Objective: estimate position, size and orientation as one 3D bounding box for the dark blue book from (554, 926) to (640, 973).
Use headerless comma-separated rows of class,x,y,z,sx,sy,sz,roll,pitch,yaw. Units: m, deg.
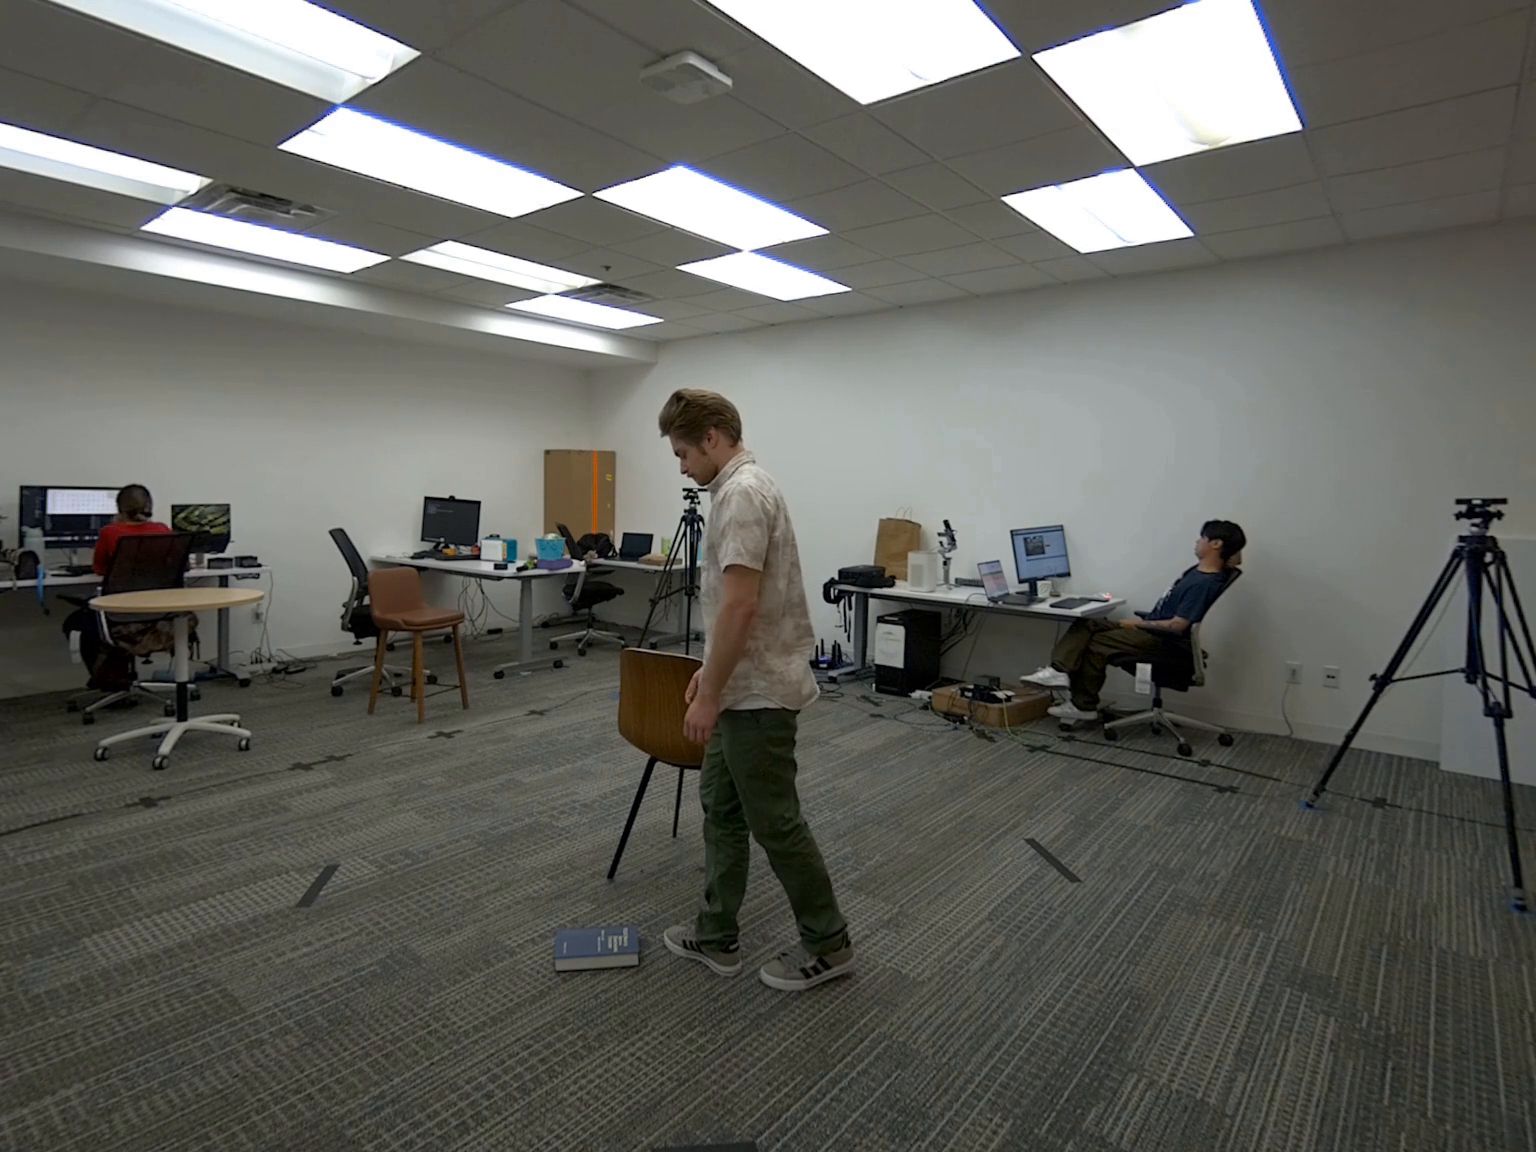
dark blue book,-0.514,1.098,2.520,0.243,0.045,0.166,0,6,-10
